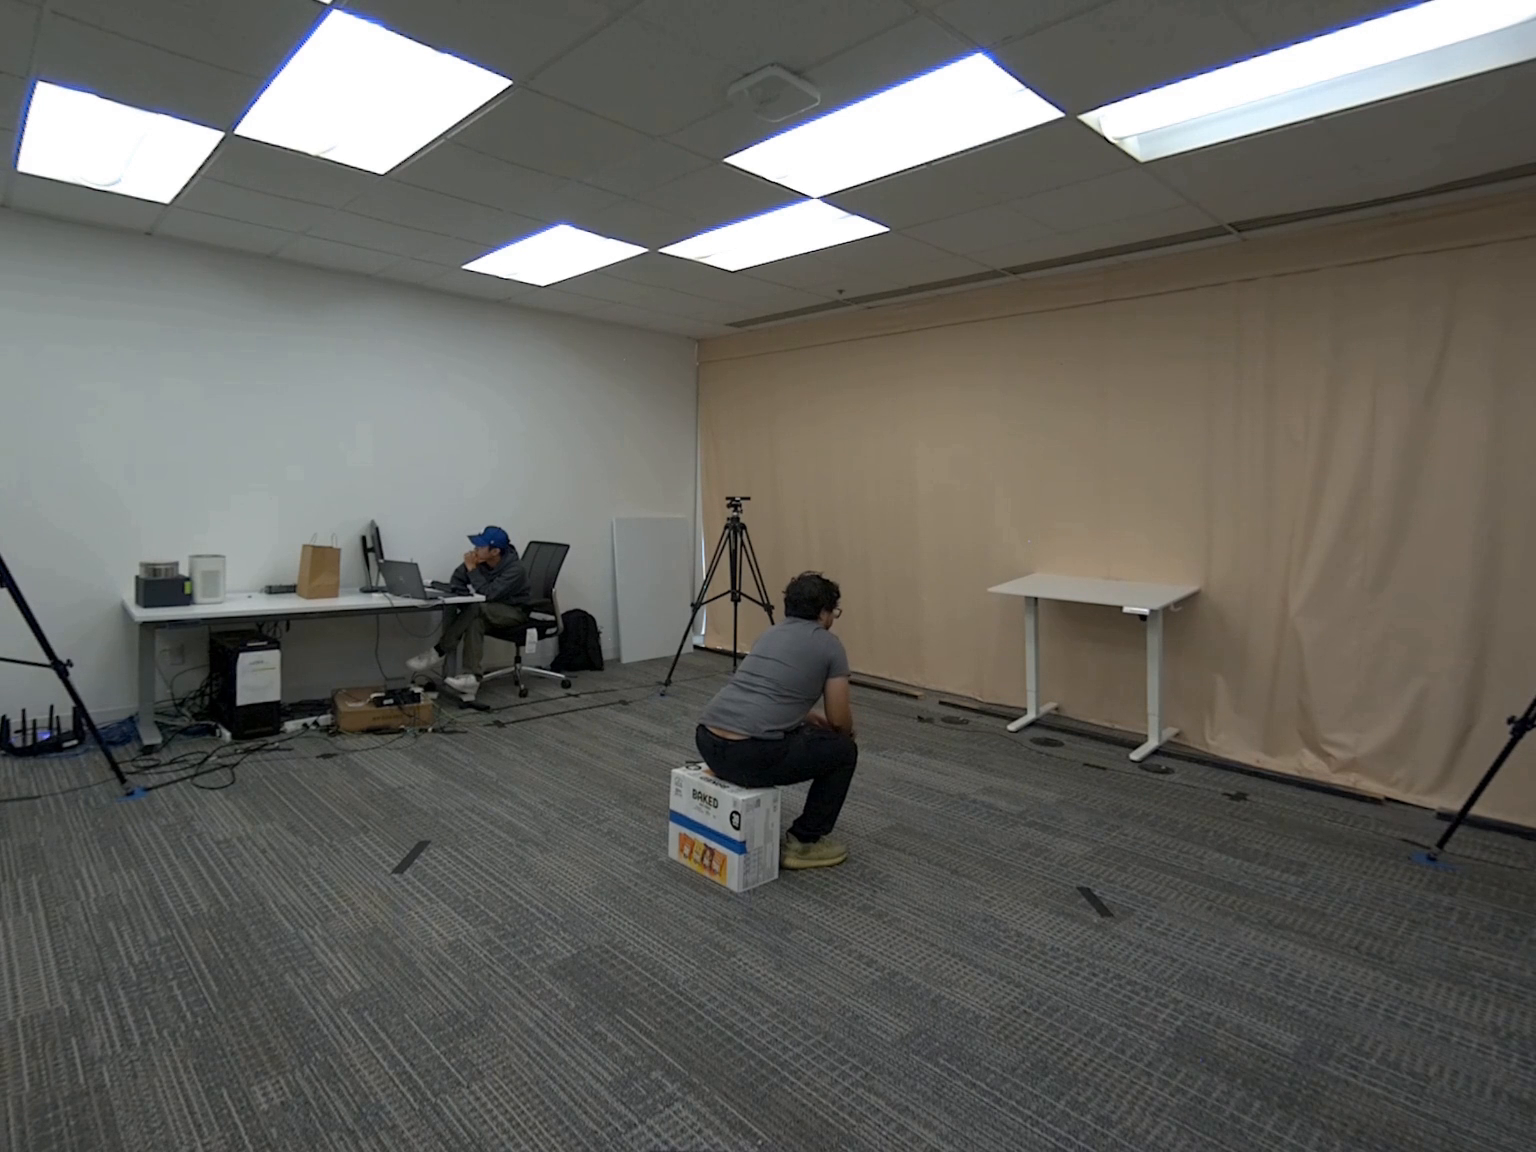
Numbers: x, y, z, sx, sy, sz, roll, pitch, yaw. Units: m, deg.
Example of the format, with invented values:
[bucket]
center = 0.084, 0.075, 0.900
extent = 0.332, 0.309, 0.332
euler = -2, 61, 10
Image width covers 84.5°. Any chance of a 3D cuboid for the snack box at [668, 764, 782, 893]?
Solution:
[snack box]
center = -0.176, 0.933, 3.167
extent = 0.201, 0.339, 0.416
euler = -1, 5, -44
